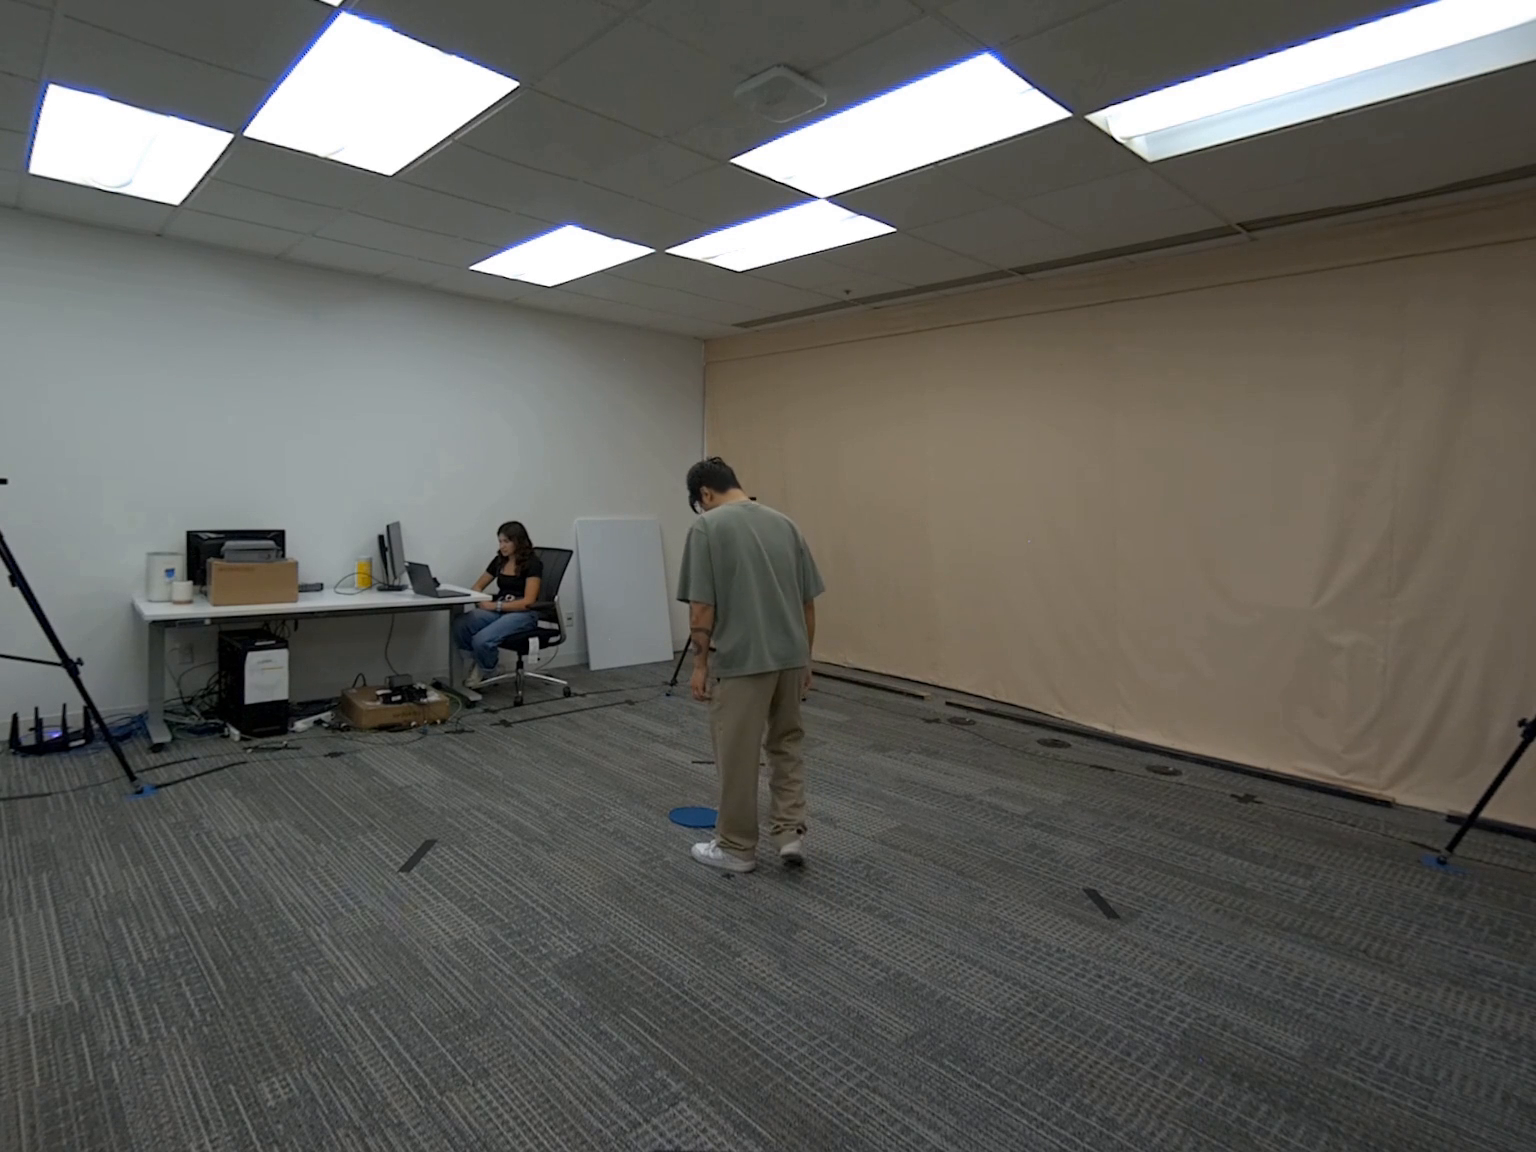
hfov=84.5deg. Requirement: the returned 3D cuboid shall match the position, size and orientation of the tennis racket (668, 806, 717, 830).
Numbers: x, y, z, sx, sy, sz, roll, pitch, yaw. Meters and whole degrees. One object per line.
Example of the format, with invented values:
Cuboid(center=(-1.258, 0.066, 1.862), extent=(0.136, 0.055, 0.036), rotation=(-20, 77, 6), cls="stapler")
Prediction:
Cuboid(center=(-0.247, 1.044, 3.604), extent=(0.443, 0.031, 0.209), rotation=(3, 6, 35), cls="tennis racket")
